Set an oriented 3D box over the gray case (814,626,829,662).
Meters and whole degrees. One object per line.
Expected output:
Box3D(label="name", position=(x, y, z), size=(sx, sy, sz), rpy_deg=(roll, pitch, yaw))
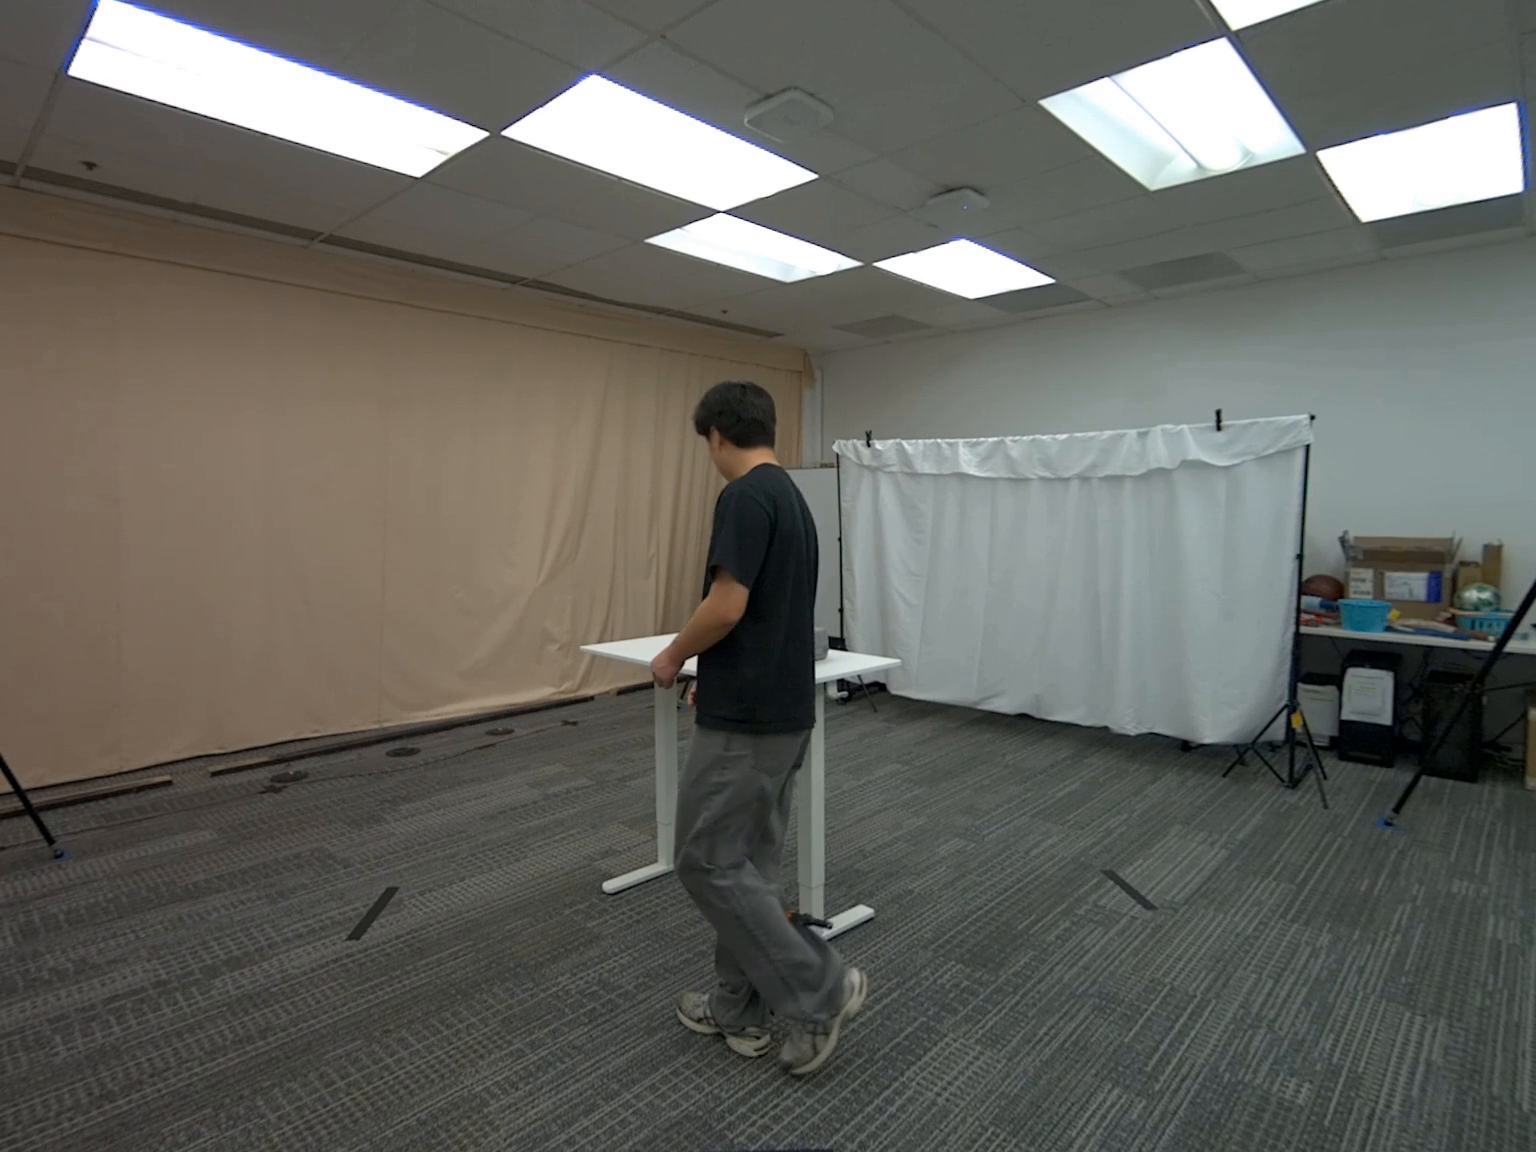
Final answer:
Box3D(label="gray case", position=(0.027, 0.223, 2.789), size=(0.297, 0.103, 0.255), rpy_deg=(3, 6, 42))
